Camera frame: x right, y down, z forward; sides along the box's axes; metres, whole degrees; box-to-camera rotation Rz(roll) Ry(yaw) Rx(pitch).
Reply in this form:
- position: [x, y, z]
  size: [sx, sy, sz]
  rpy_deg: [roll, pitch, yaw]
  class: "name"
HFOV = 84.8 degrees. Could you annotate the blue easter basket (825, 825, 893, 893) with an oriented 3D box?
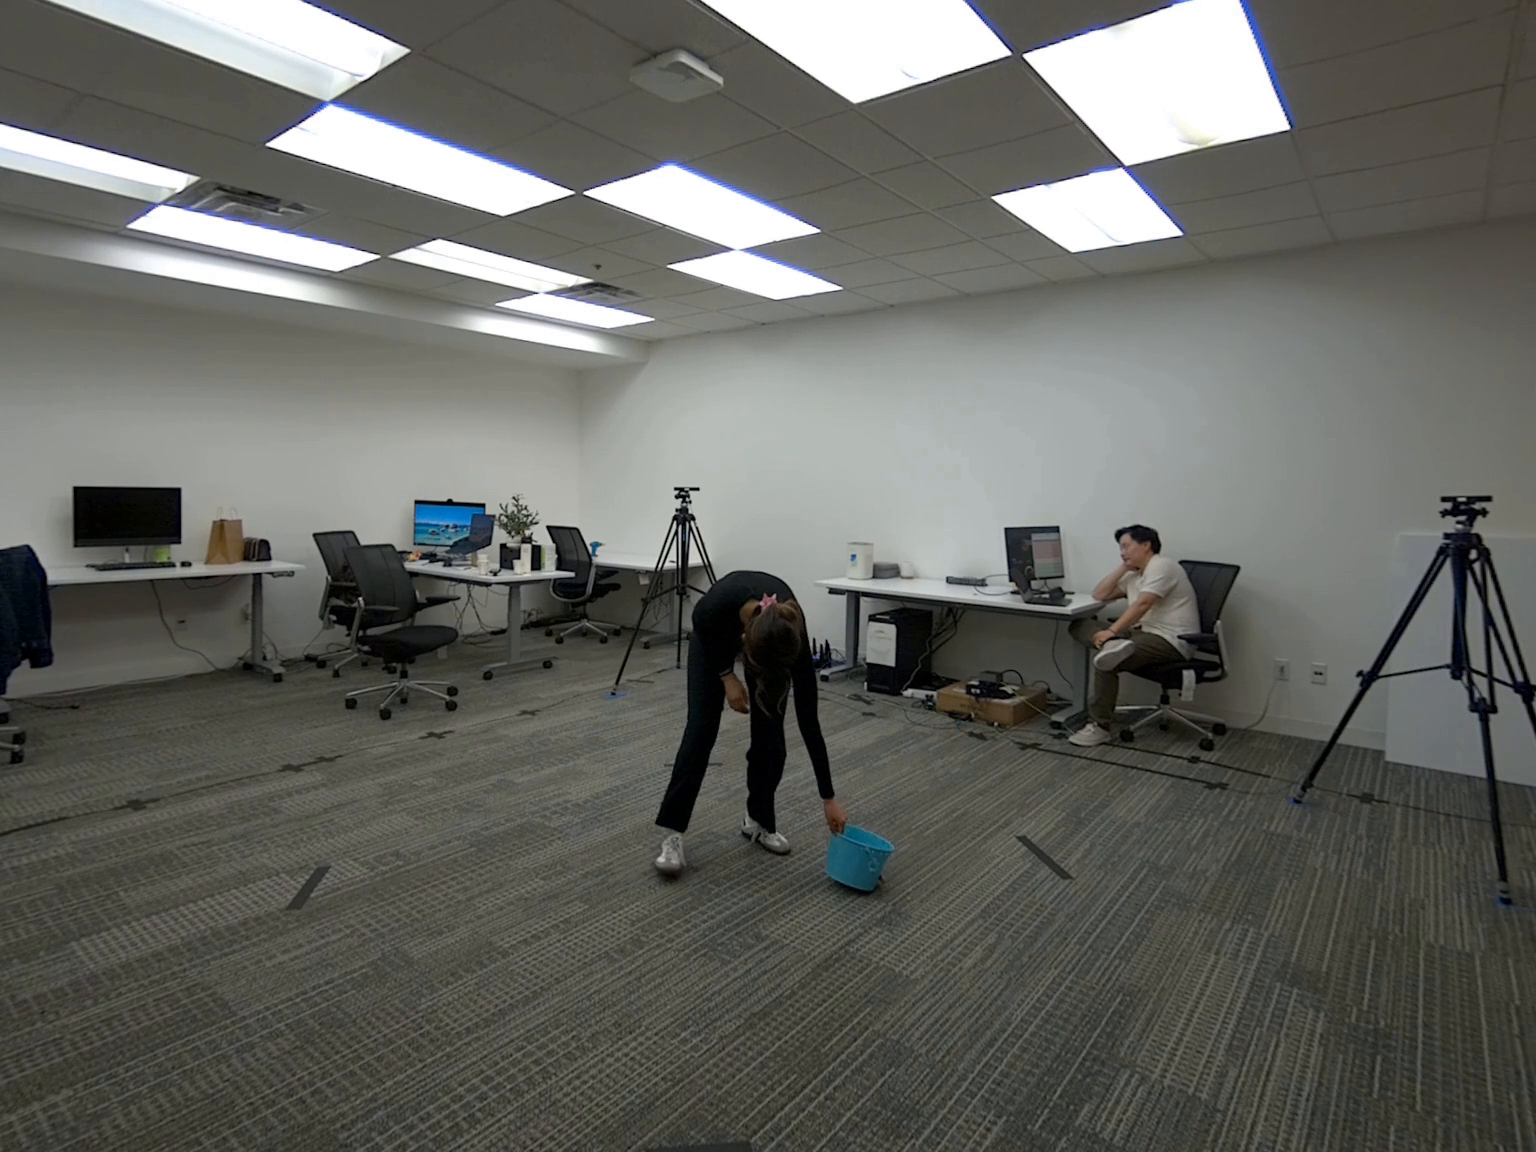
- position: [0.311, 0.990, 2.997]
  size: [0.243, 0.156, 0.243]
  rpy_deg: [16, -2, -1]
  class: "blue easter basket"
